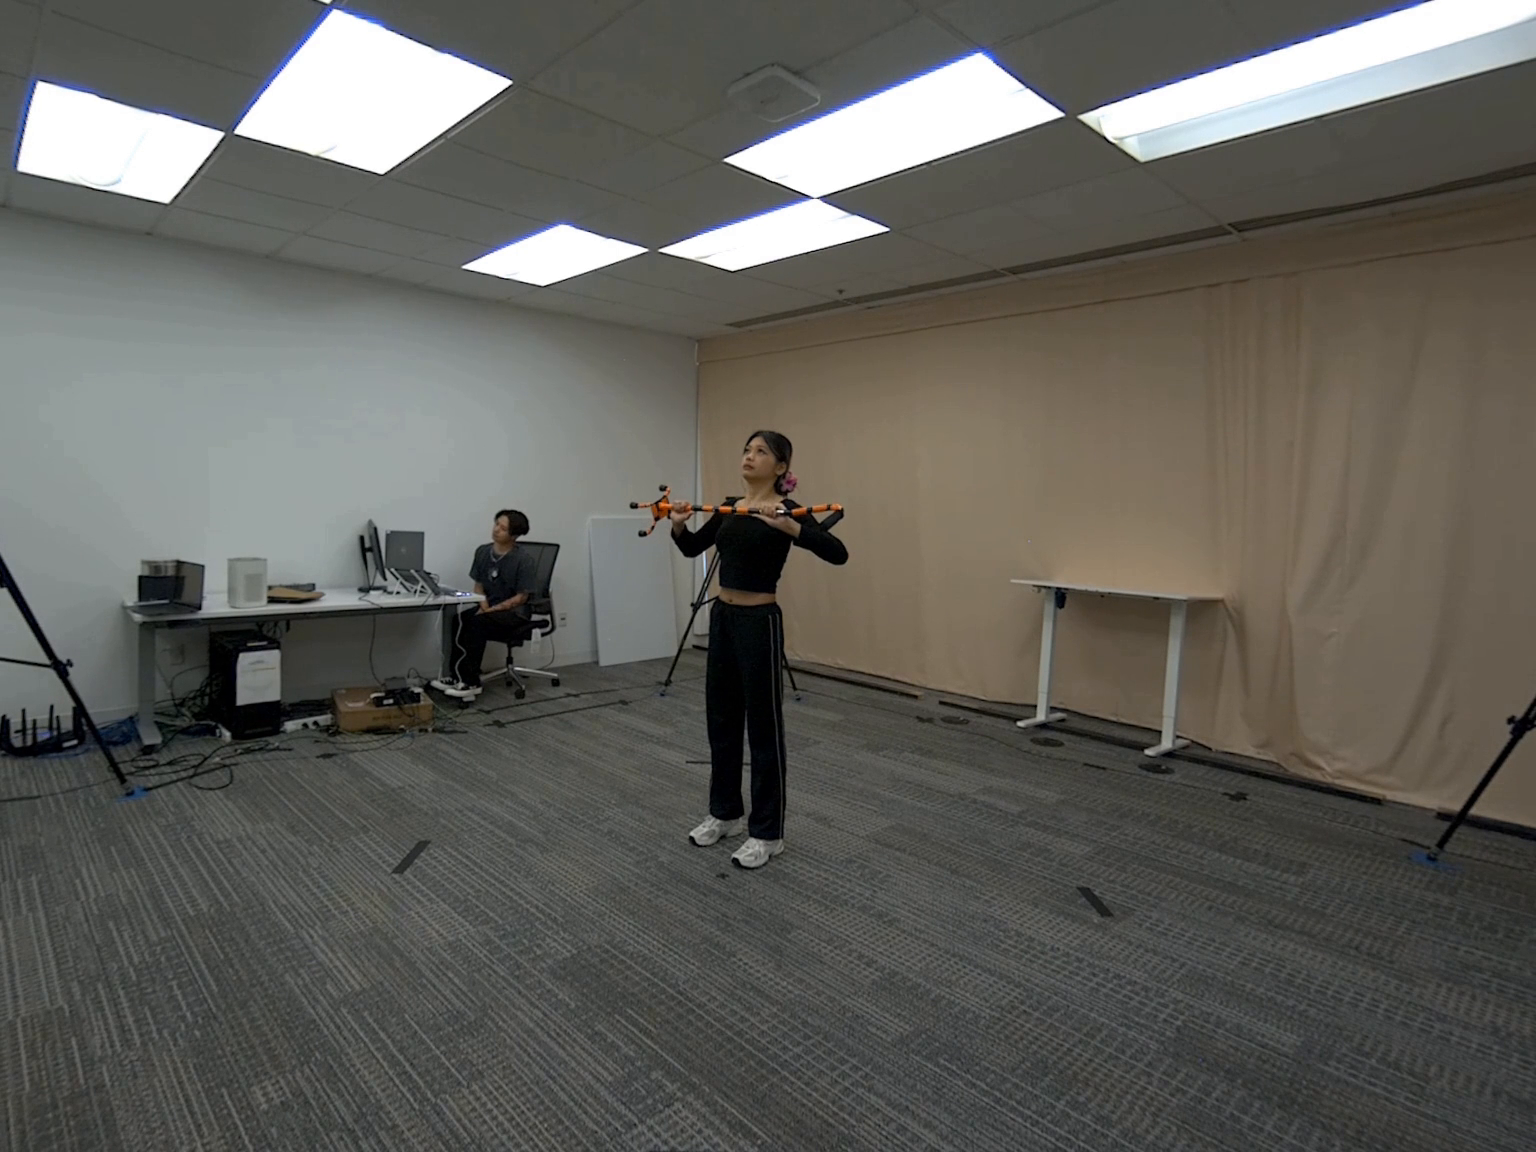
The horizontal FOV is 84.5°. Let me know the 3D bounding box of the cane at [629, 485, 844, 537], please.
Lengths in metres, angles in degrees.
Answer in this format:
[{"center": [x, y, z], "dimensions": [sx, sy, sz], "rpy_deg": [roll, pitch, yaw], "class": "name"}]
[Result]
[{"center": [-0.123, -0.231, 3.100], "dimensions": [0.931, 0.148, 0.205], "rpy_deg": [6, 32, 40], "class": "cane"}]
